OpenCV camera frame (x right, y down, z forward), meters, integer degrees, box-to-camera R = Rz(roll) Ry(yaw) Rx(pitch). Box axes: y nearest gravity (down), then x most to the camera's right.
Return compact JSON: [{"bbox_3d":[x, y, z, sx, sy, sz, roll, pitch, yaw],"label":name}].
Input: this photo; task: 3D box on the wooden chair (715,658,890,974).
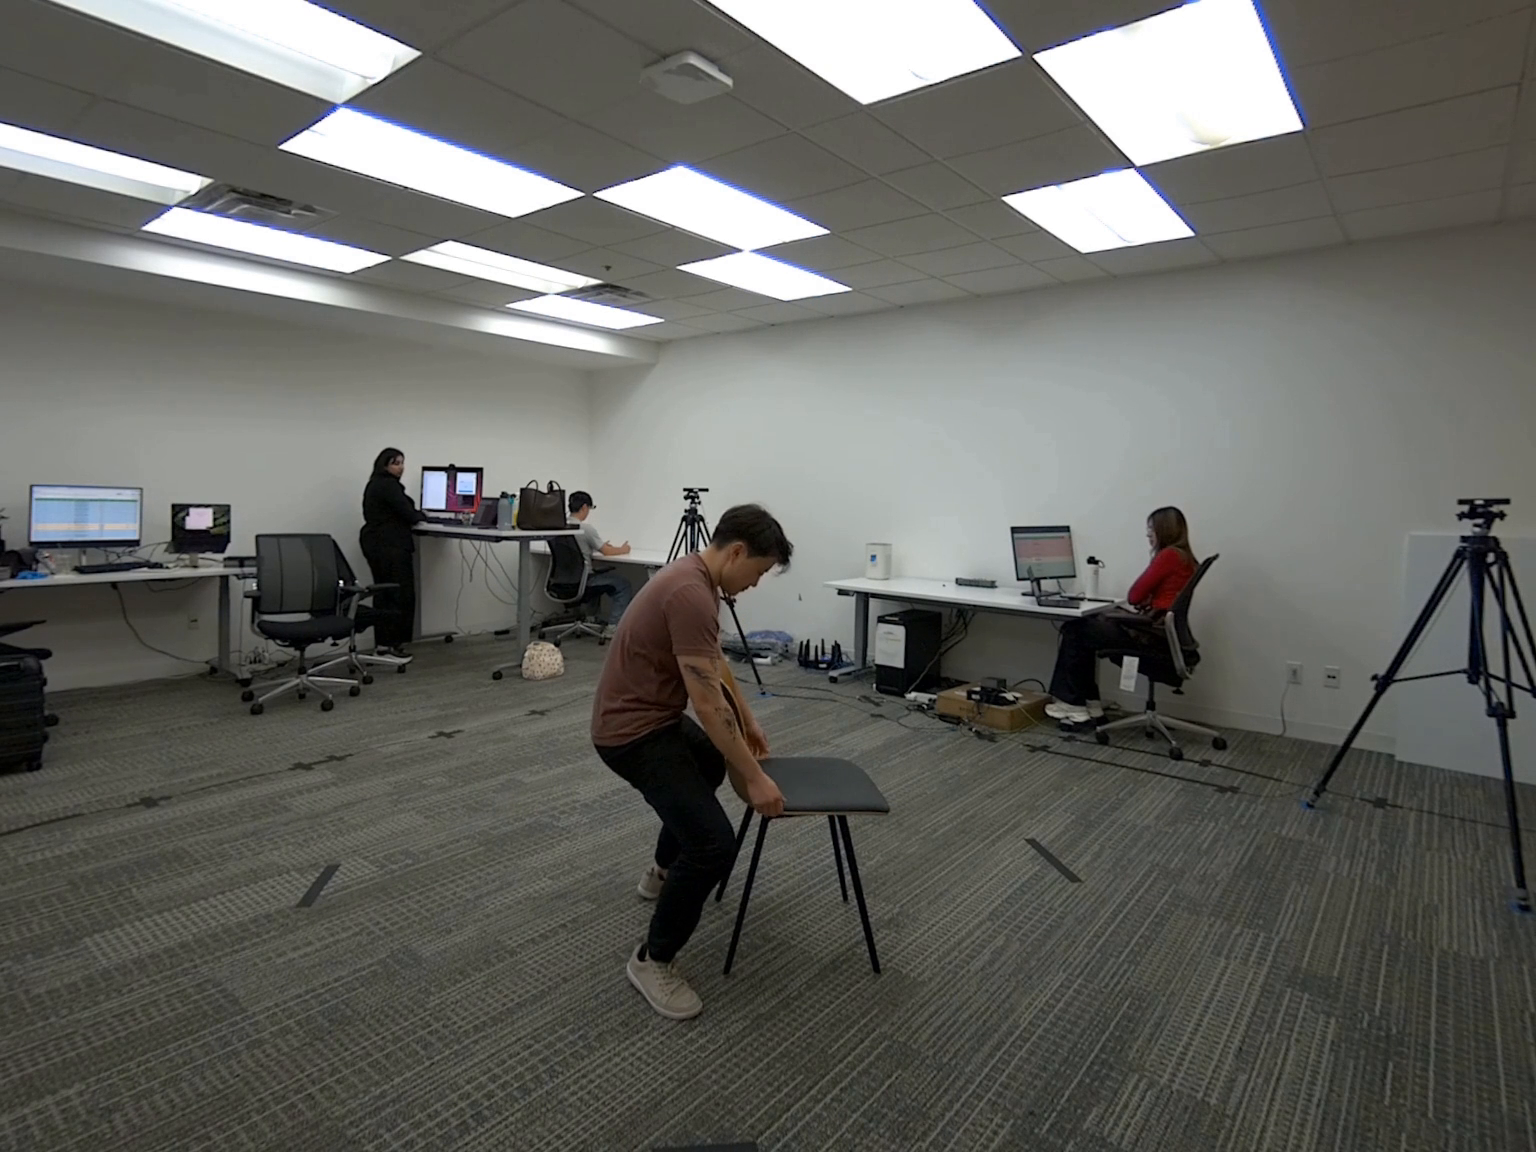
[{"bbox_3d":[0.092,0.695,2.645,0.522,0.876,0.480,-2,2,-4],"label":"wooden chair"}]
